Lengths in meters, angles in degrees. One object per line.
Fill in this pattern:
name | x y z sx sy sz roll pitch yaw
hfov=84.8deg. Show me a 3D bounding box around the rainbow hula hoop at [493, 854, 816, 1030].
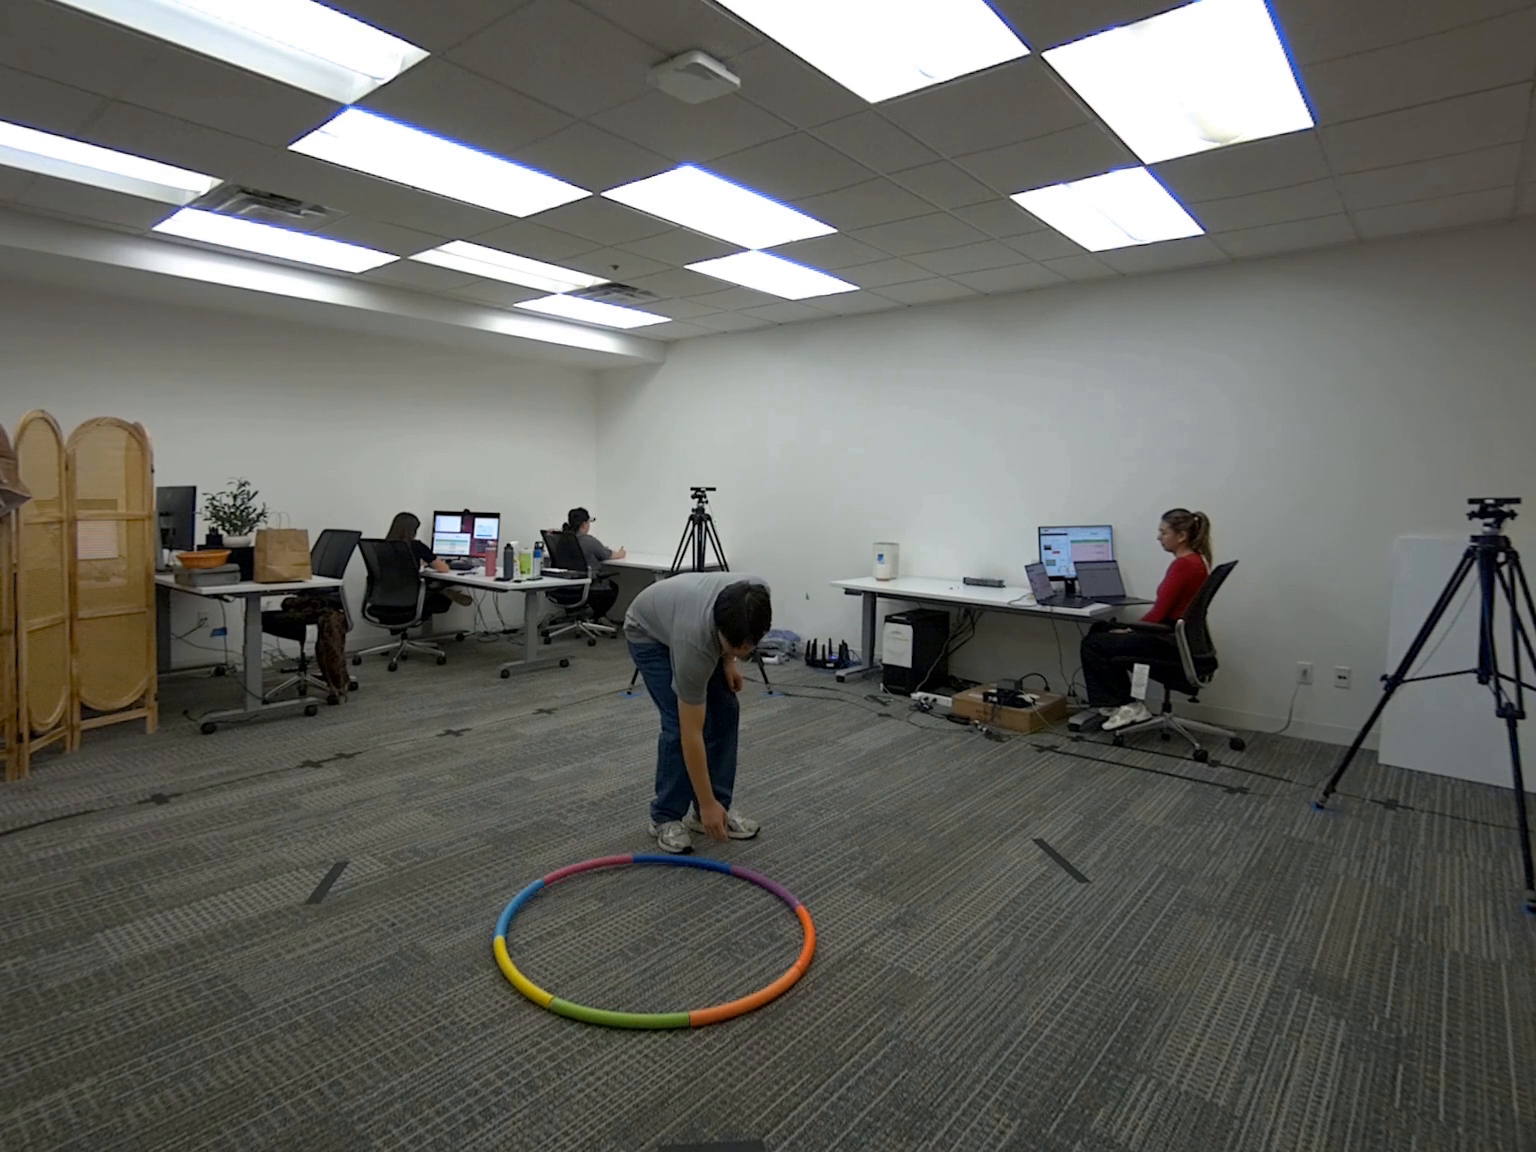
rainbow hula hoop | -0.356 1.069 2.653 0.978 0.035 0.984 1 6 -2
